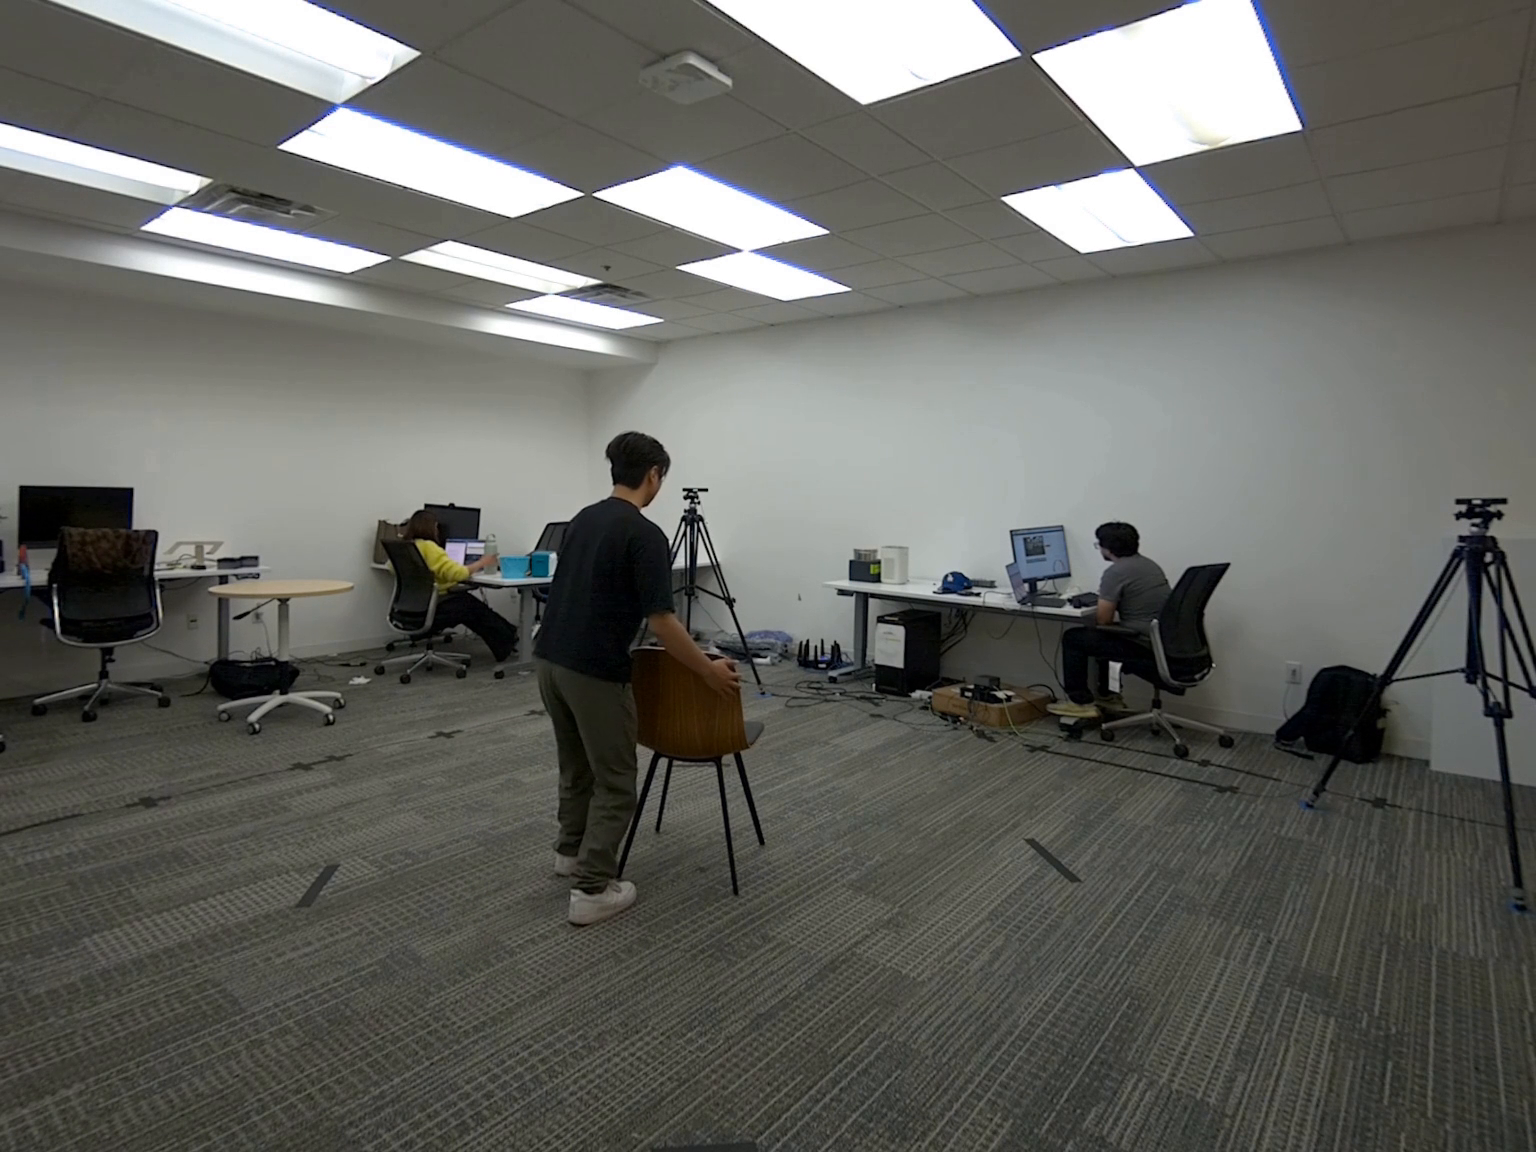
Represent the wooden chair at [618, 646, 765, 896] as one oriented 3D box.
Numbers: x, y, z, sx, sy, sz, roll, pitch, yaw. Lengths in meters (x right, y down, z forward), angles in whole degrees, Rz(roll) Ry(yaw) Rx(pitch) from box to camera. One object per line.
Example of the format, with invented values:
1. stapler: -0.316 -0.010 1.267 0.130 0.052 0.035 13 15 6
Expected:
1. wooden chair: -0.279 0.638 3.162 0.486 0.871 0.519 2 8 13
